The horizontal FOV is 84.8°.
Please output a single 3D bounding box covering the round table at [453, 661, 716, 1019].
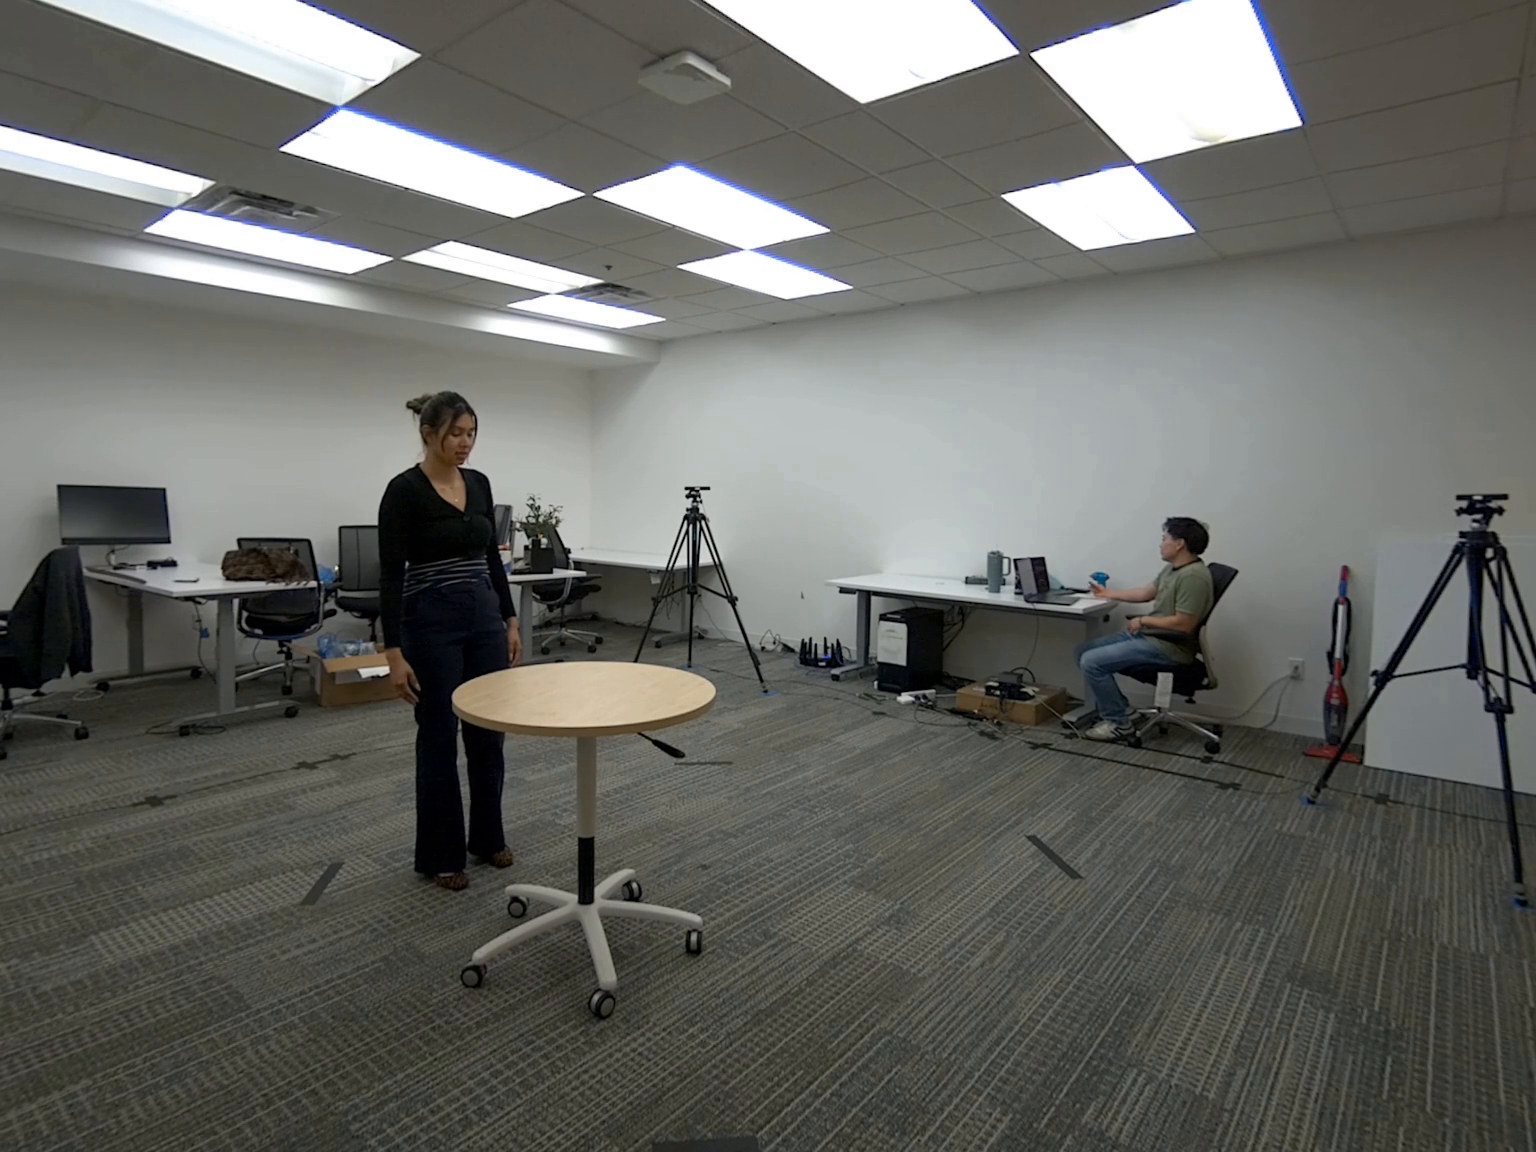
[{"bbox_3d":[-0.553,0.728,2.544,0.763,0.791,0.768,1,5,-2],"label":"round table"}]
